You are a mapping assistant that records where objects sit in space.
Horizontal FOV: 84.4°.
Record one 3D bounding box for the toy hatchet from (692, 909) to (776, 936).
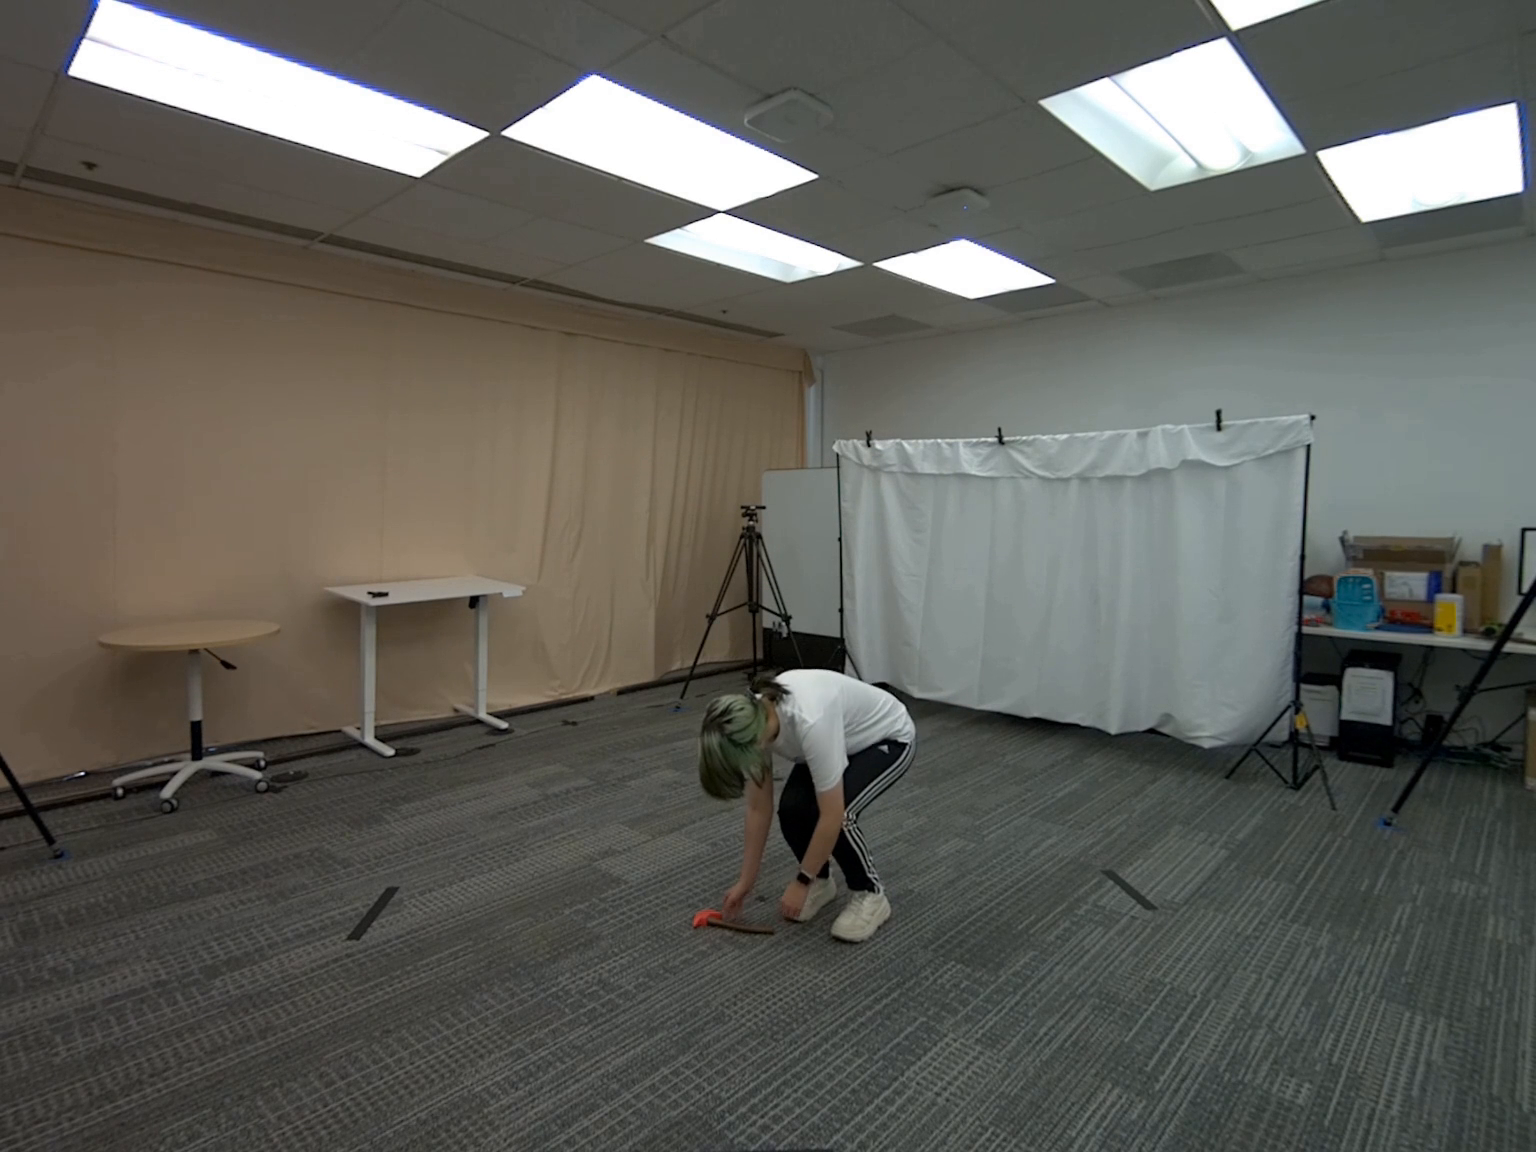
[{"bbox_3d":[-0.110,1.157,2.807,0.271,0.029,0.130,4,0,4],"label":"toy hatchet"}]
